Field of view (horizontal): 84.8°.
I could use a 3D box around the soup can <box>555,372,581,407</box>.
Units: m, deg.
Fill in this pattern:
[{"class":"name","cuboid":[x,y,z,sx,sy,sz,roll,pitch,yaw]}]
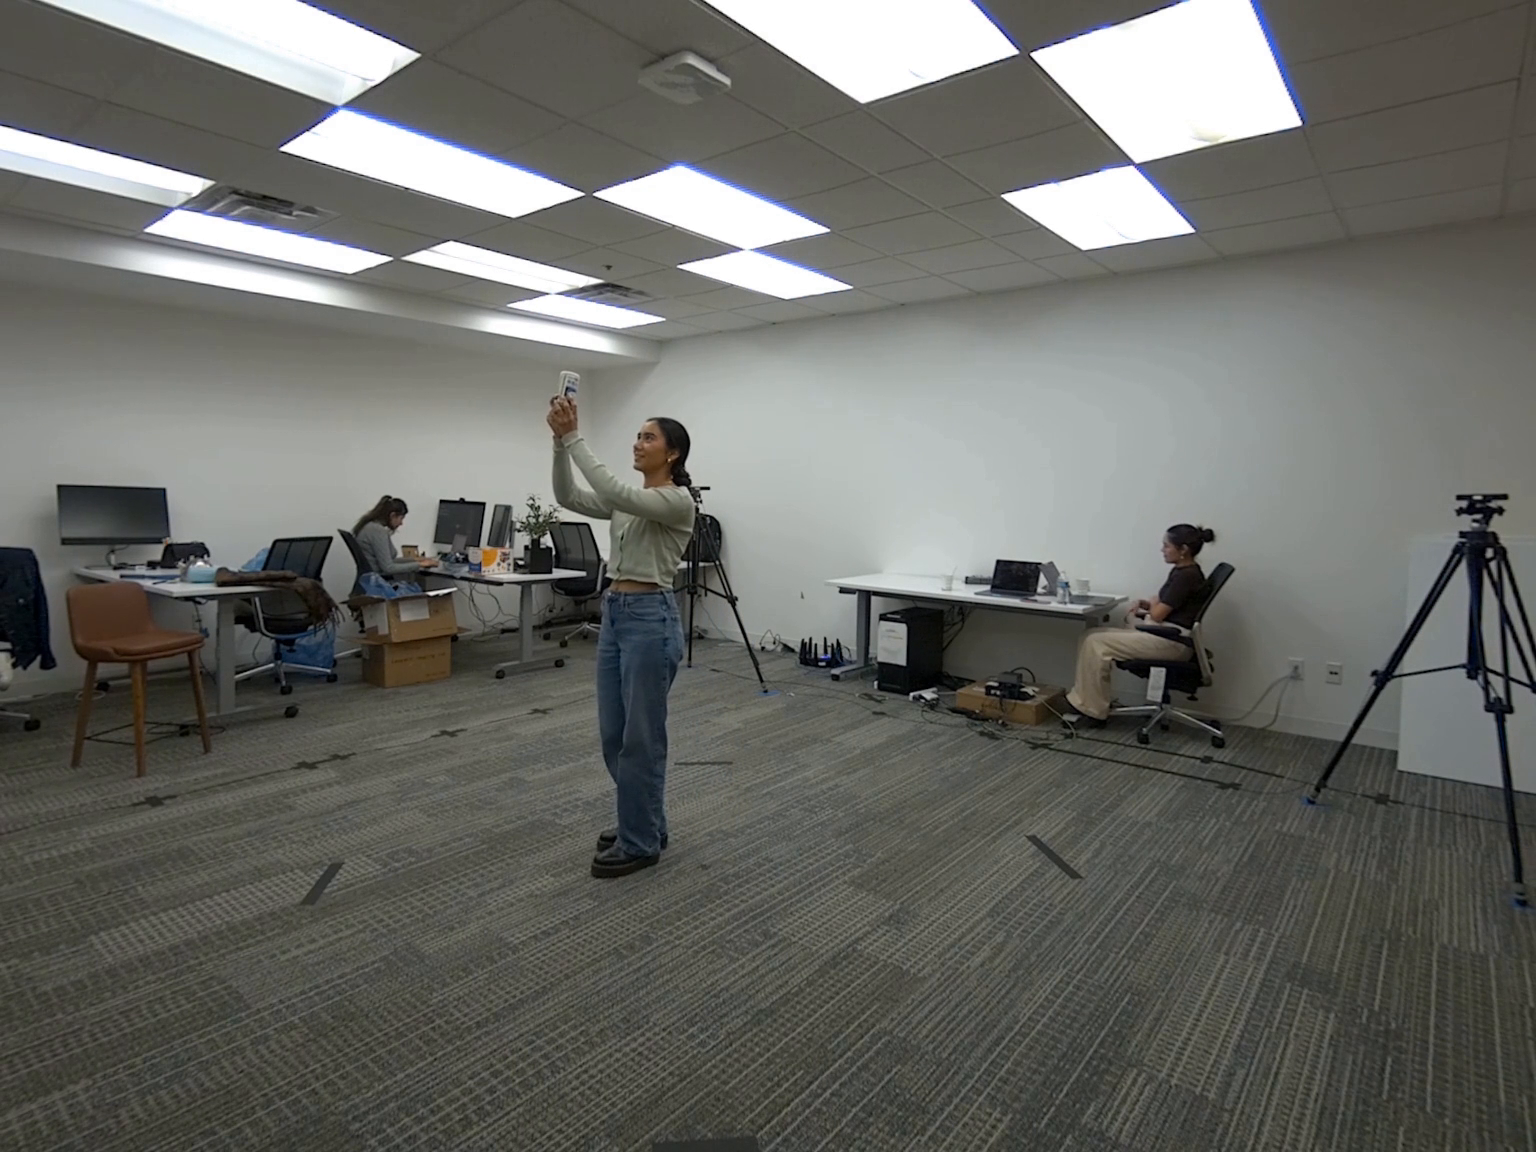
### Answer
[{"class":"soup can","cuboid":[-0.696,-0.633,2.912,0.067,0.122,0.067,7,-5,-1]}]
